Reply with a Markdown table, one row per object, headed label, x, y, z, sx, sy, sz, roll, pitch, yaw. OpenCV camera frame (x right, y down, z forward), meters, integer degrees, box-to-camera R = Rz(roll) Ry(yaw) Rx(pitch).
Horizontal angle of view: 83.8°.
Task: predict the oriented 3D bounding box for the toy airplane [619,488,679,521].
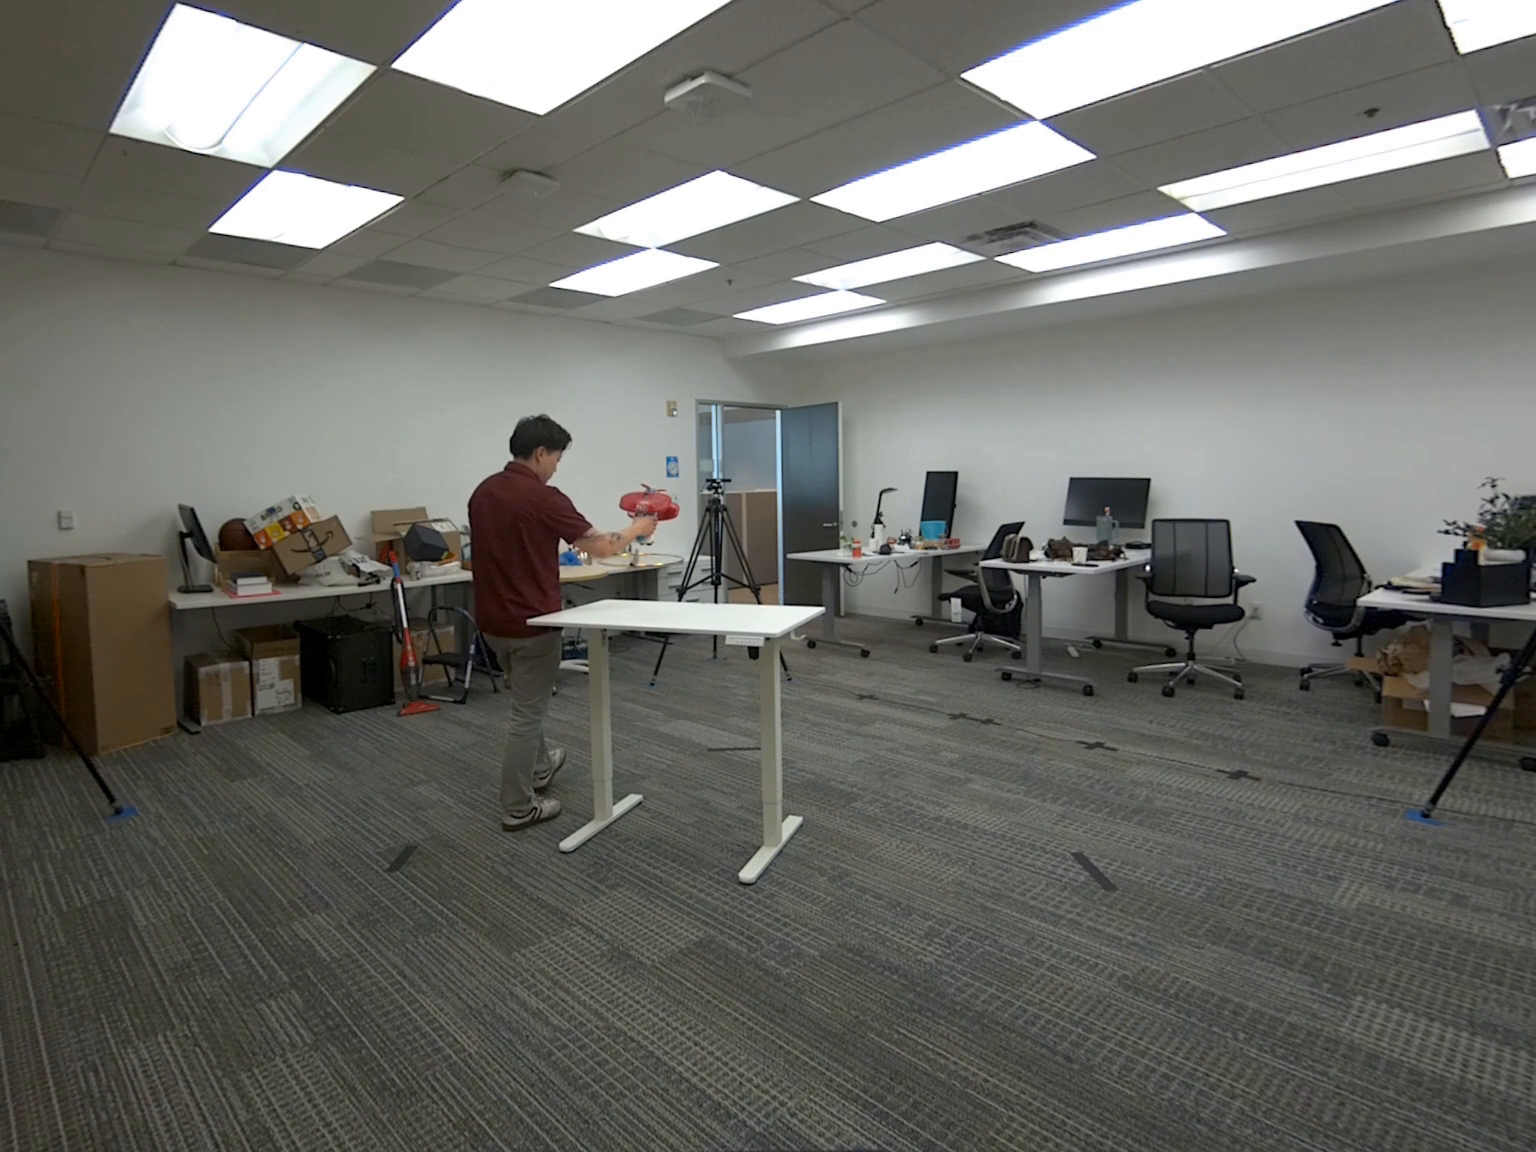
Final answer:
| label | x | y | z | sx | sy | sz | roll | pitch | yaw |
| --- | --- | --- | --- | --- | --- | --- | --- | --- | --- |
| toy airplane | -0.506 | -0.259 | 3.707 | 0.252 | 0.268 | 0.151 | -19 | -41 | 5 |
